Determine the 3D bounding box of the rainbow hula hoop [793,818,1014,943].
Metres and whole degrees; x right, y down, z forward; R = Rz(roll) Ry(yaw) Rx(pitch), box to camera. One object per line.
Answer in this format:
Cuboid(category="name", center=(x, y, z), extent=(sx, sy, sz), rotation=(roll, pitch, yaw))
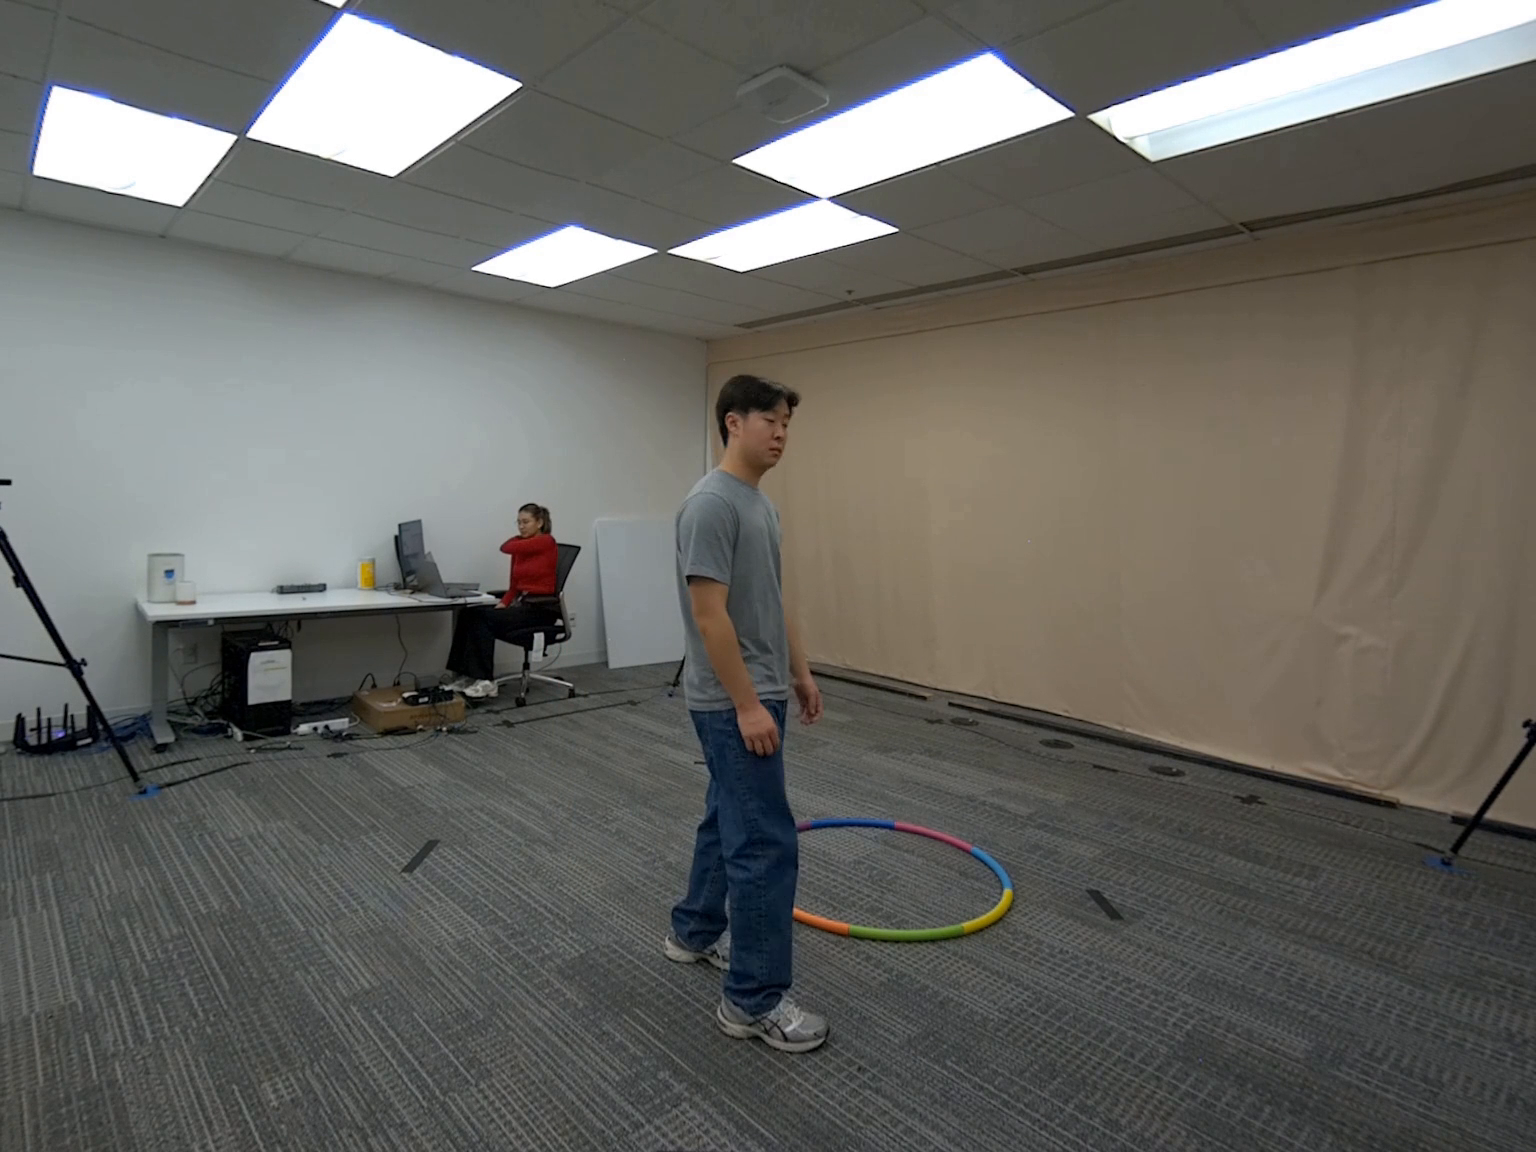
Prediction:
Cuboid(category="rainbow hula hoop", center=(0.377, 1.082, 3.154), extent=(0.978, 0.035, 0.982), rotation=(1, 5, -1))
